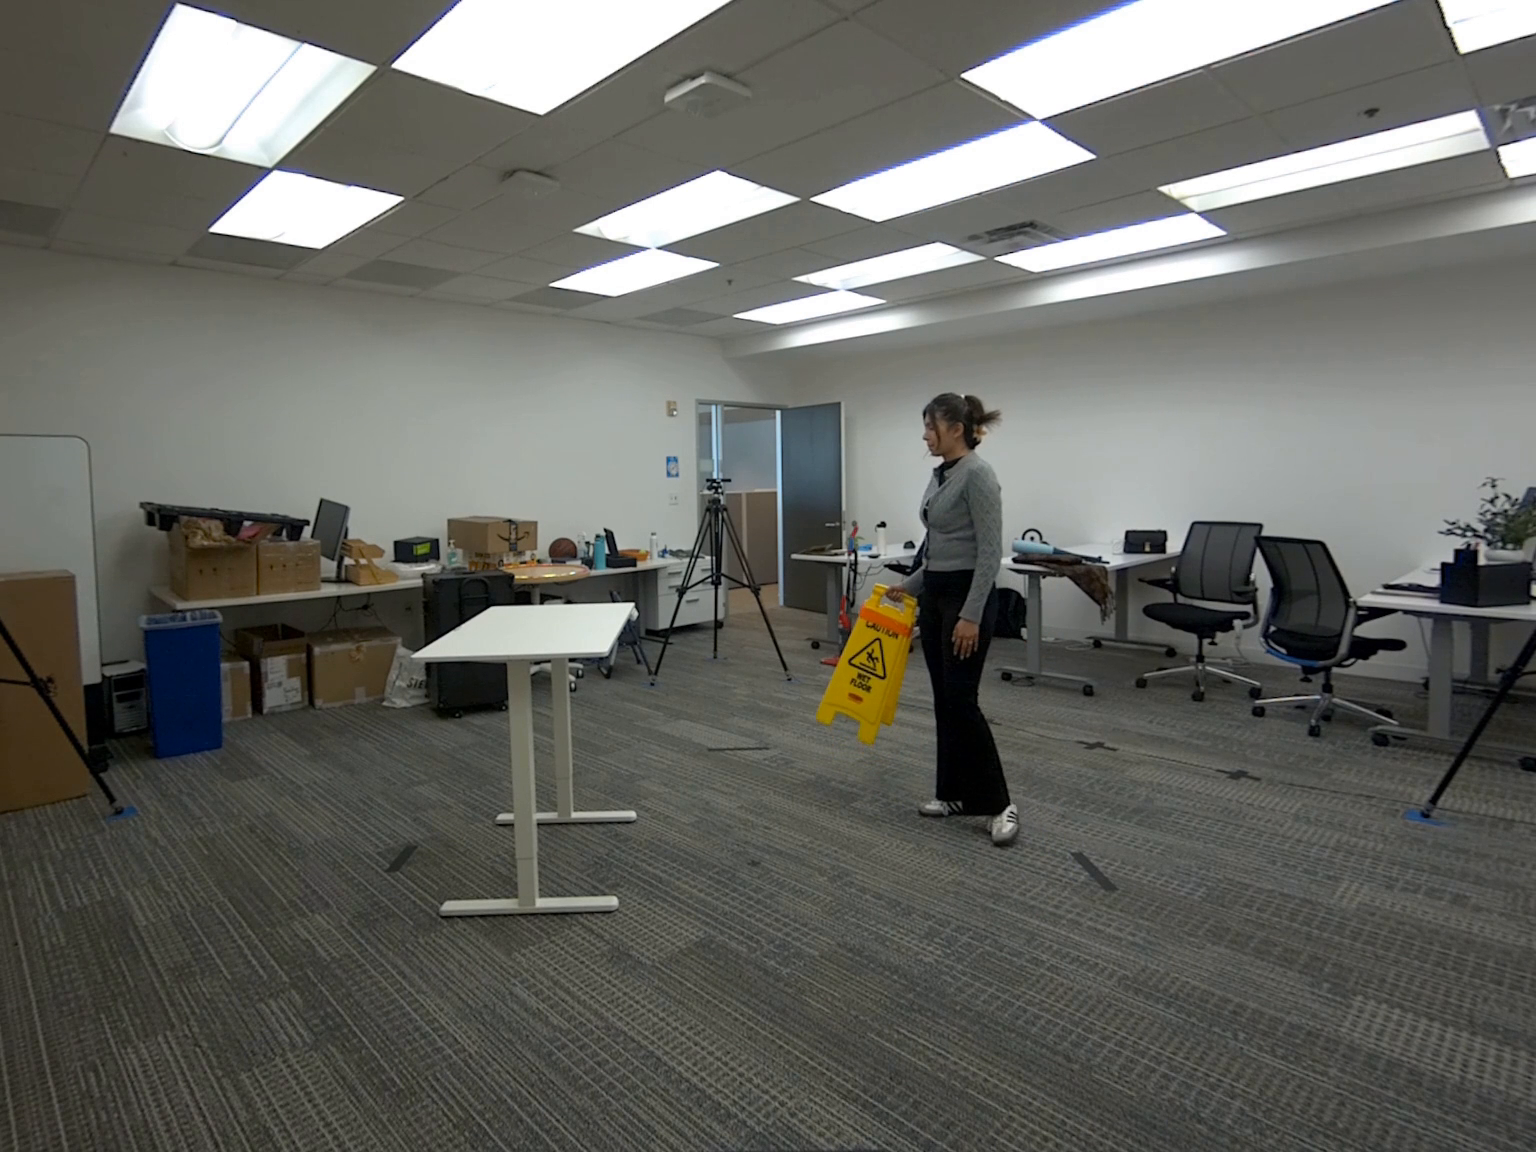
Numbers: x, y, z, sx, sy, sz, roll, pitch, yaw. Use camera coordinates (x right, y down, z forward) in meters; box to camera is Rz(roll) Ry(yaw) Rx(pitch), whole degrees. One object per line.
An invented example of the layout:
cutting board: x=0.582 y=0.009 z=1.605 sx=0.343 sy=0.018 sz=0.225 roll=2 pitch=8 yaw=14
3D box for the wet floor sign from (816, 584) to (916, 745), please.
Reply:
wet floor sign: x=0.464 y=0.367 z=3.785 sx=0.290 sy=0.640 sz=0.284 roll=21 pitch=15 yaw=23
